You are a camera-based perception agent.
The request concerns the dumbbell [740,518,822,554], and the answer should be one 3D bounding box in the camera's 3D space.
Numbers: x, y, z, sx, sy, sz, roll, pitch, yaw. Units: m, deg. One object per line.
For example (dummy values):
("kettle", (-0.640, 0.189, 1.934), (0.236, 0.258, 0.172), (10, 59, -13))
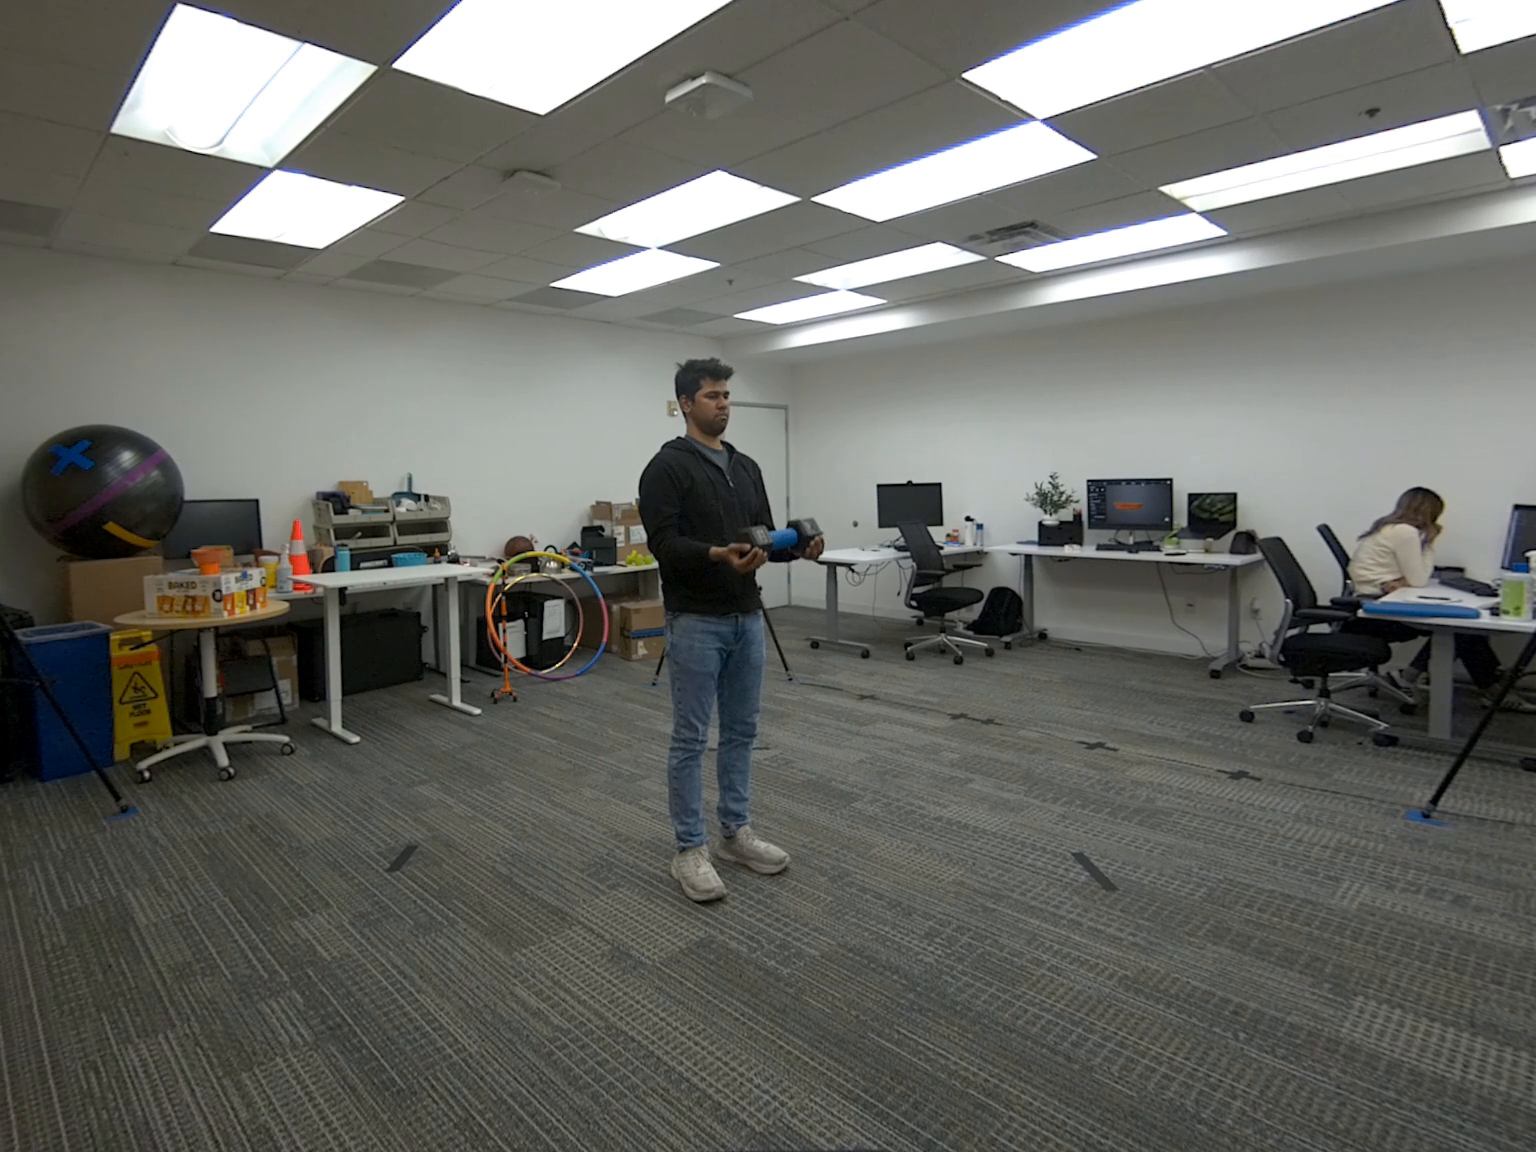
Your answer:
("dumbbell", (0.020, -0.112, 2.777), (0.287, 0.126, 0.108), (-12, -26, -37))
